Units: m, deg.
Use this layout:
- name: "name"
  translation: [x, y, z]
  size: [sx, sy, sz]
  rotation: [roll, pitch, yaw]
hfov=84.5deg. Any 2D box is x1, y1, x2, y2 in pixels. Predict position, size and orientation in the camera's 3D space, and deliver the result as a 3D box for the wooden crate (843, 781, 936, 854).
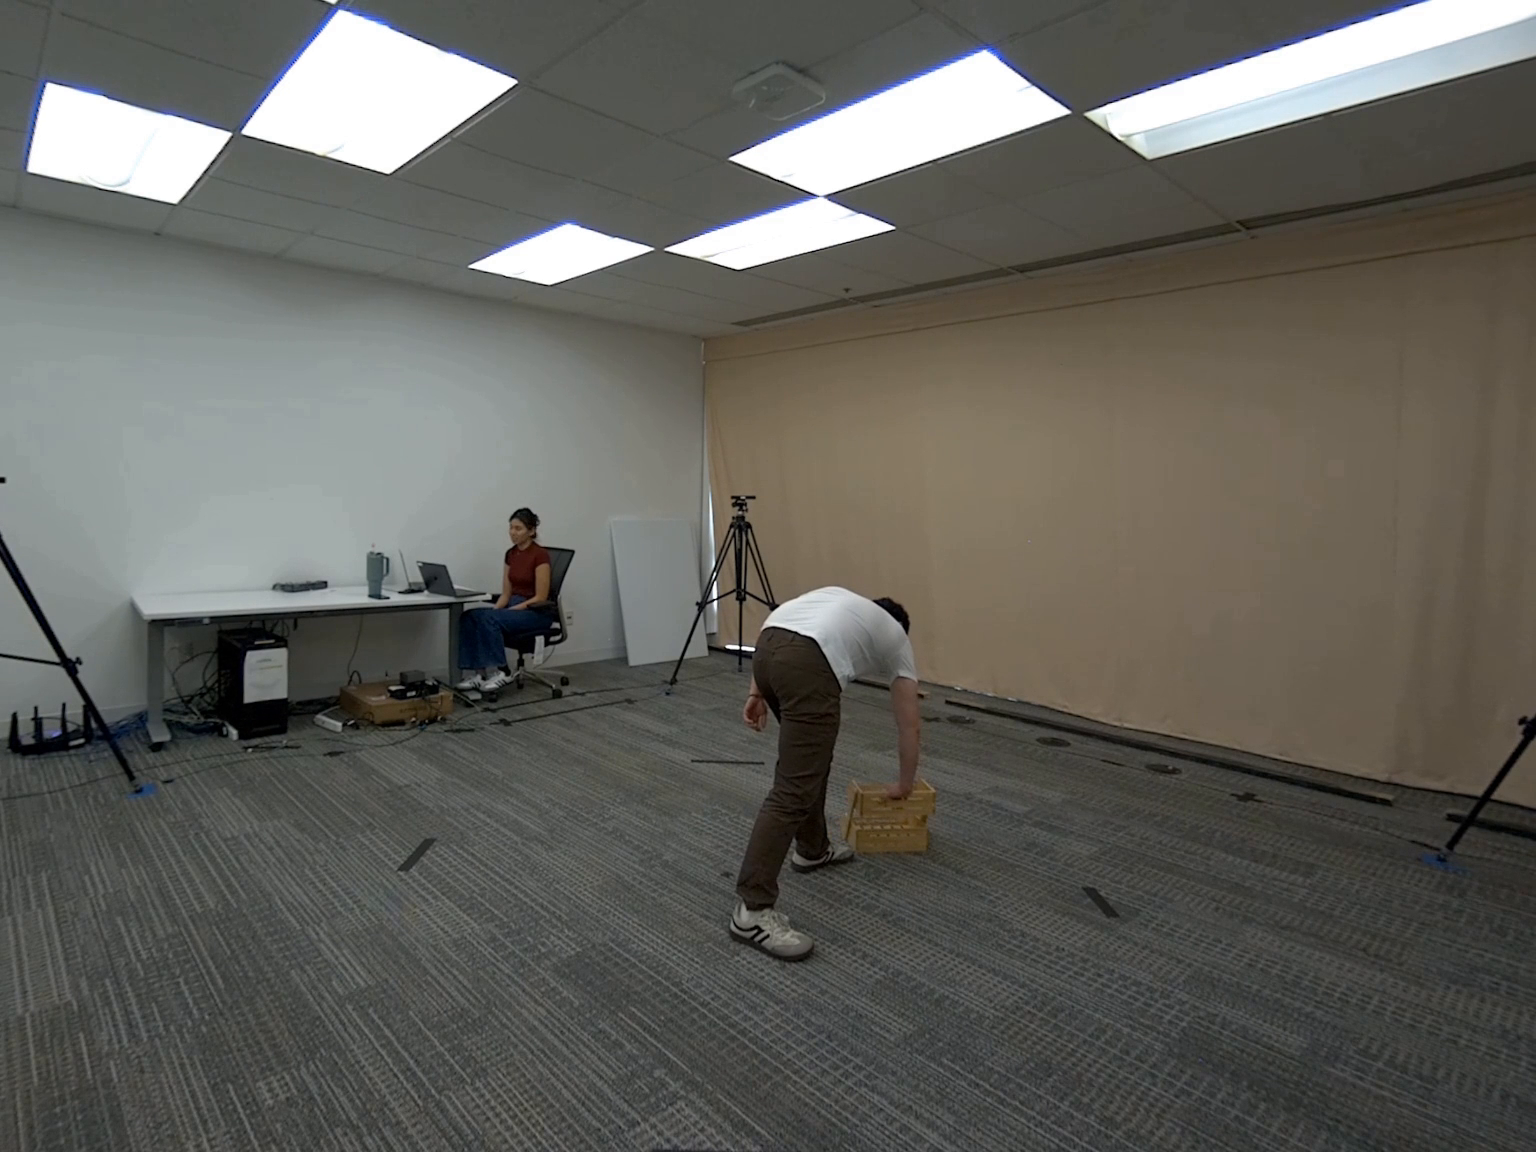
- name: "wooden crate"
  translation: [0.475, 0.951, 3.436]
  size: [0.322, 0.272, 0.305]
  rotation: [1, 6, -8]
